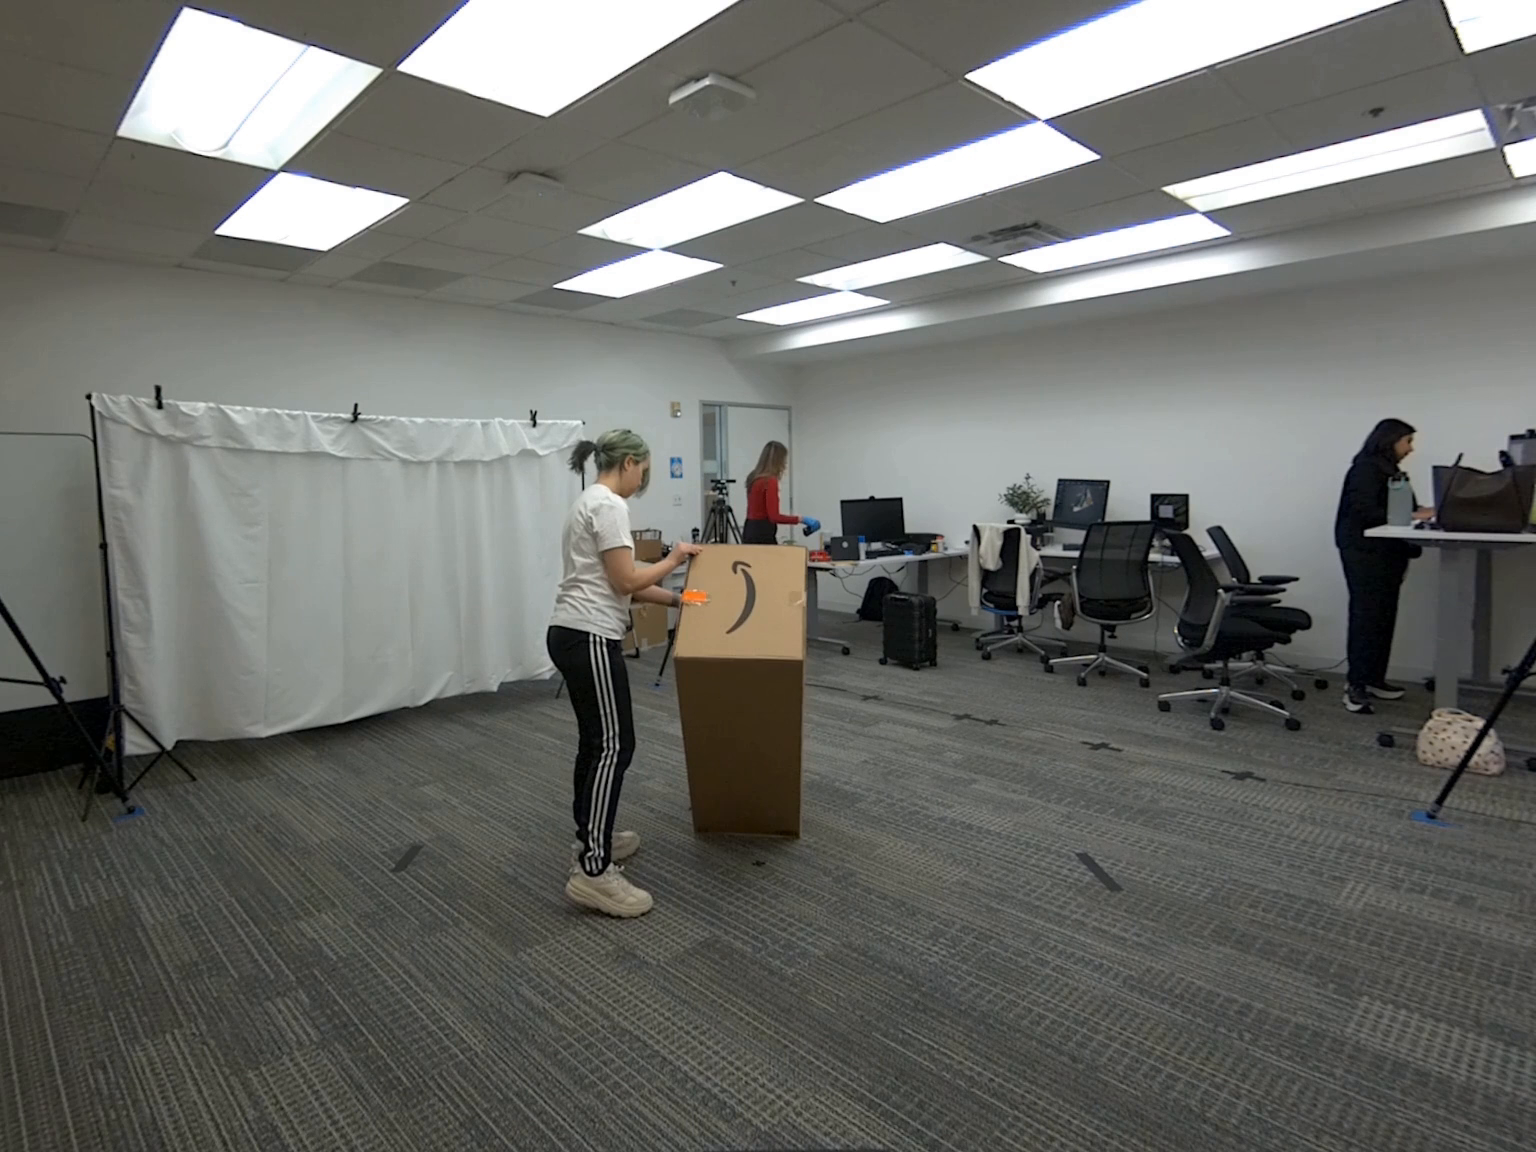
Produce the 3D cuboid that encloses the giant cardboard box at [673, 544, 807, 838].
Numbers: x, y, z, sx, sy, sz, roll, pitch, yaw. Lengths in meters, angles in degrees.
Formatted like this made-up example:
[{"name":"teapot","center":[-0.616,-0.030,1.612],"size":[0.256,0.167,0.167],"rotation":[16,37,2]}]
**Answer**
[{"name":"giant cardboard box","center":[-0.073,0.459,3.260],"size":[0.428,0.998,0.591],"rotation":[2,40,3]}]
